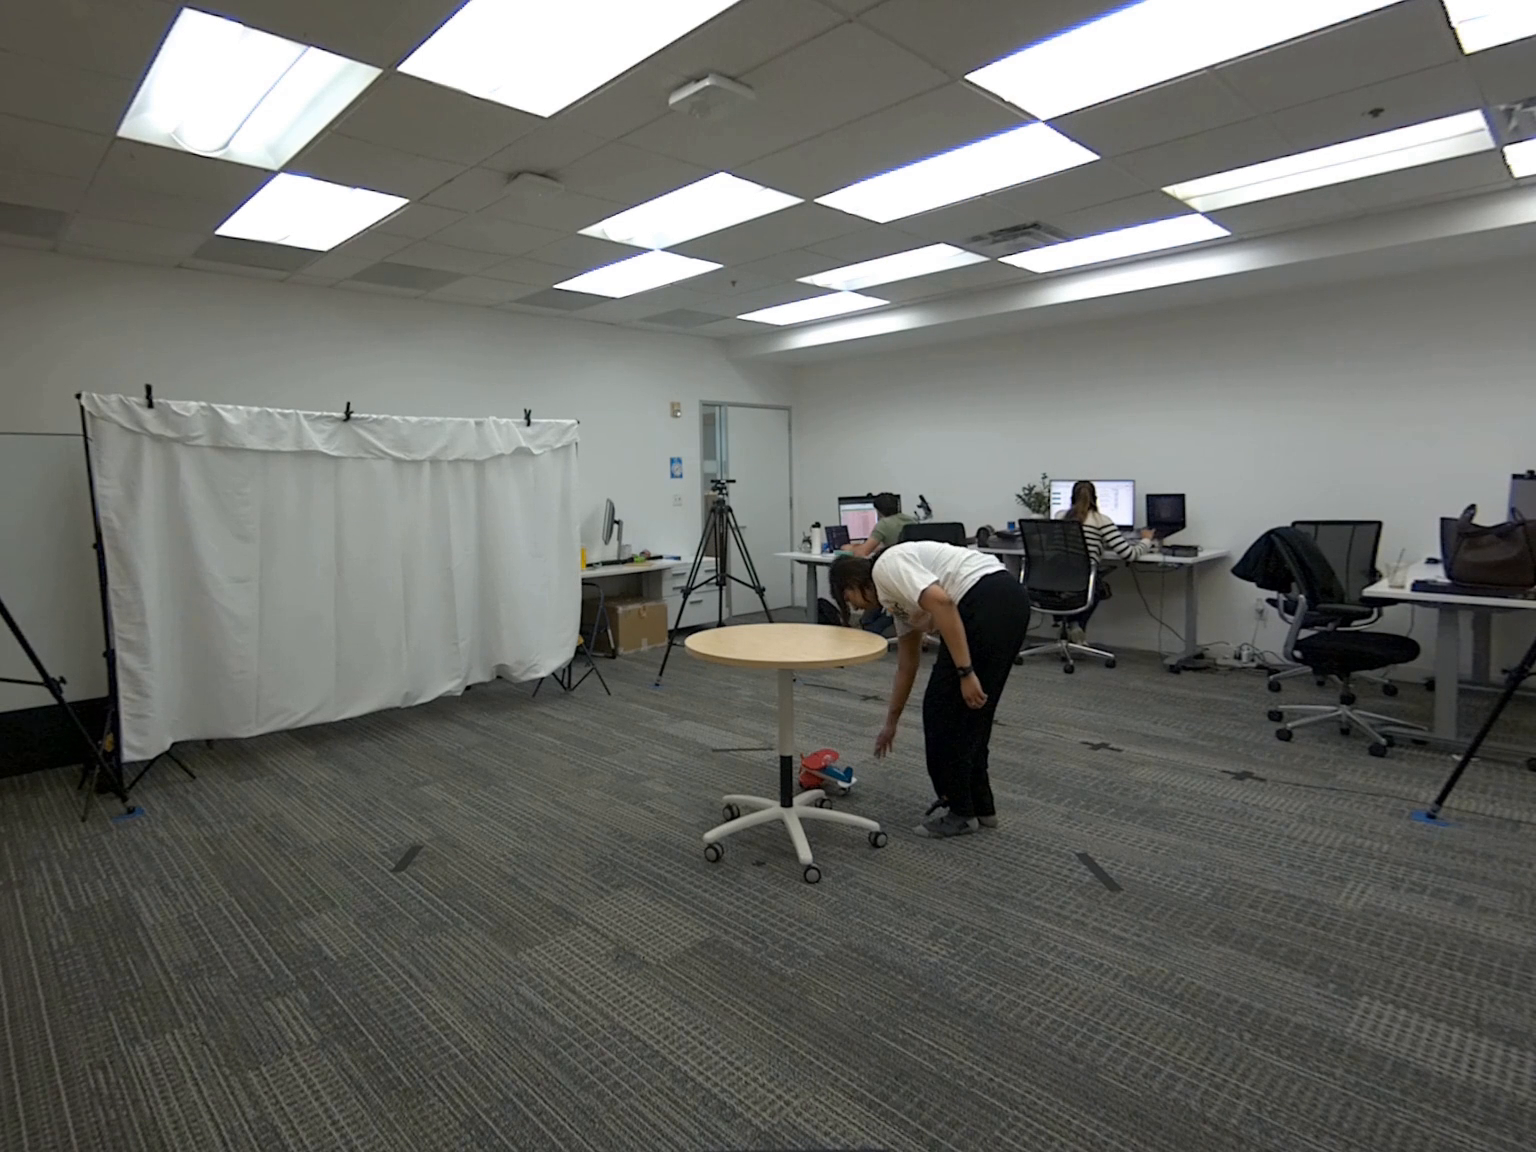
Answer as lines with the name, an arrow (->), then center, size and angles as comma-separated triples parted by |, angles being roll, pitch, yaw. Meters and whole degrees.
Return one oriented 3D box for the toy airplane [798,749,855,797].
toy airplane -> 0.269, 0.883, 3.855 | 0.261, 0.156, 0.250 | 0, 5, 7
